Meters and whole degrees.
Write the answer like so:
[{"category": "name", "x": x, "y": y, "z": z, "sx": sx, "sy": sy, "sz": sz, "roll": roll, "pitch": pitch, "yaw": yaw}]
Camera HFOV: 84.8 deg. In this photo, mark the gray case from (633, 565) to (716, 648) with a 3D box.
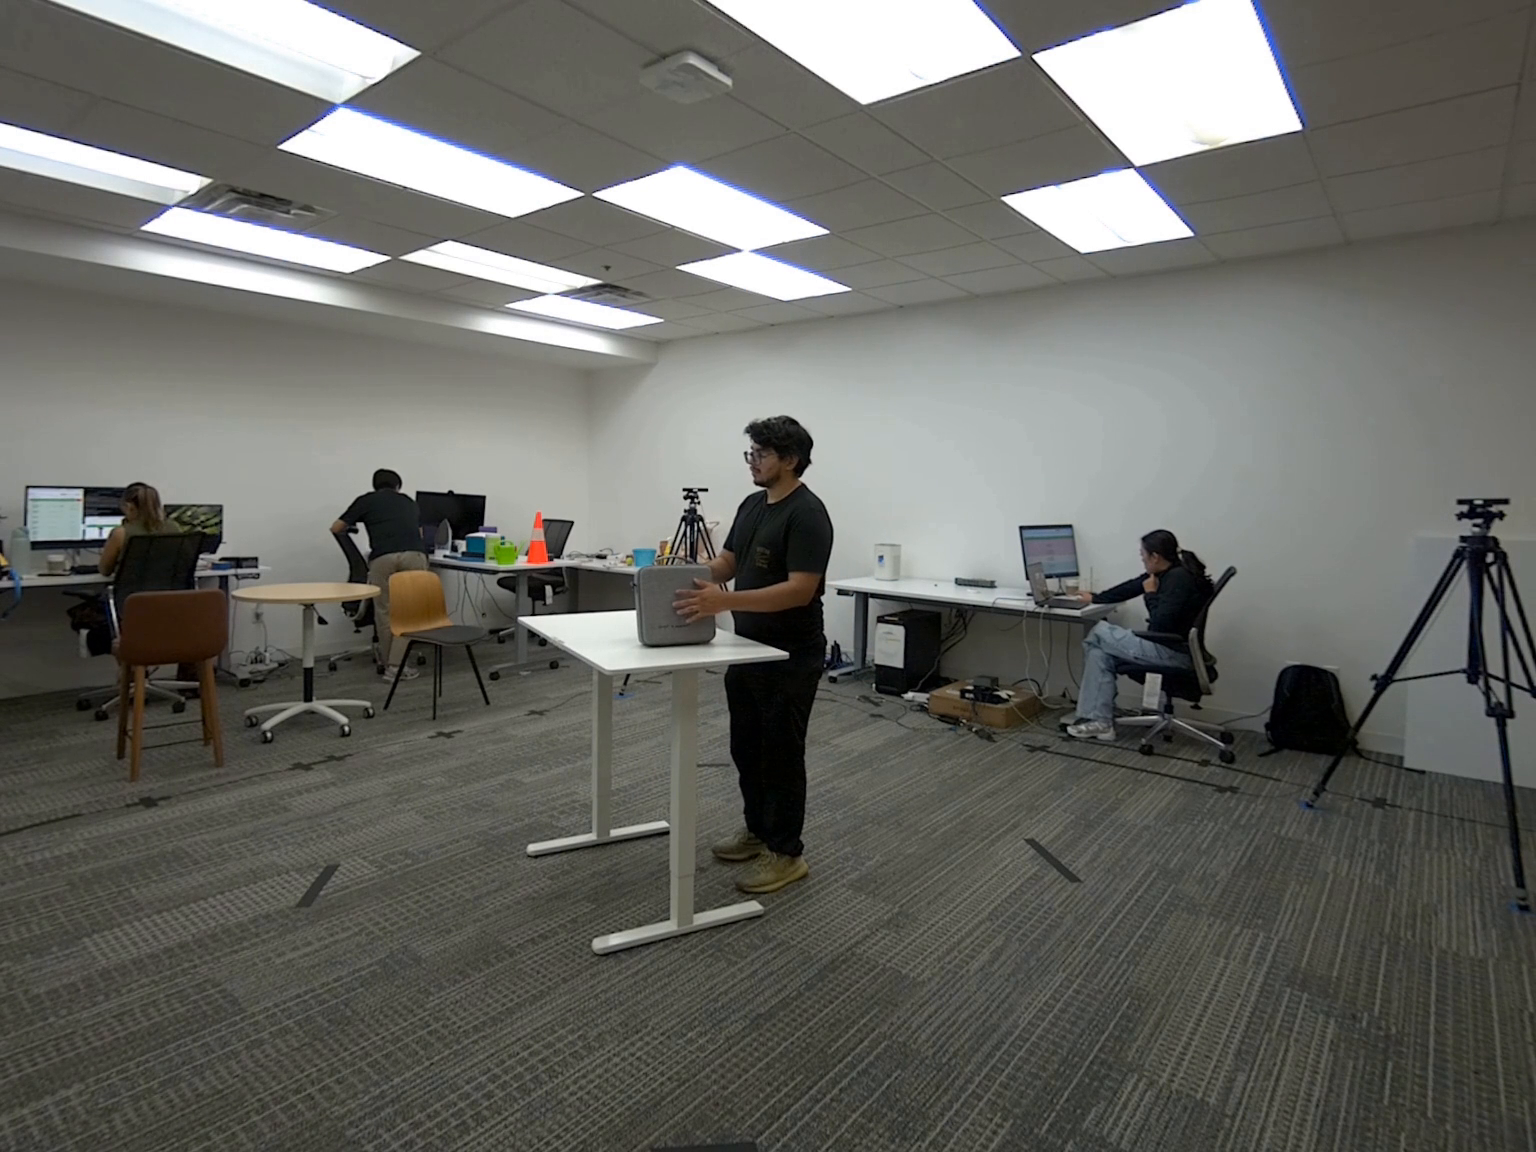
[{"category": "gray case", "x": -0.310, "y": 0.093, "z": 2.781, "sx": 0.251, "sy": 0.262, "sz": 0.106, "roll": -2, "pitch": -5, "yaw": -22}]
